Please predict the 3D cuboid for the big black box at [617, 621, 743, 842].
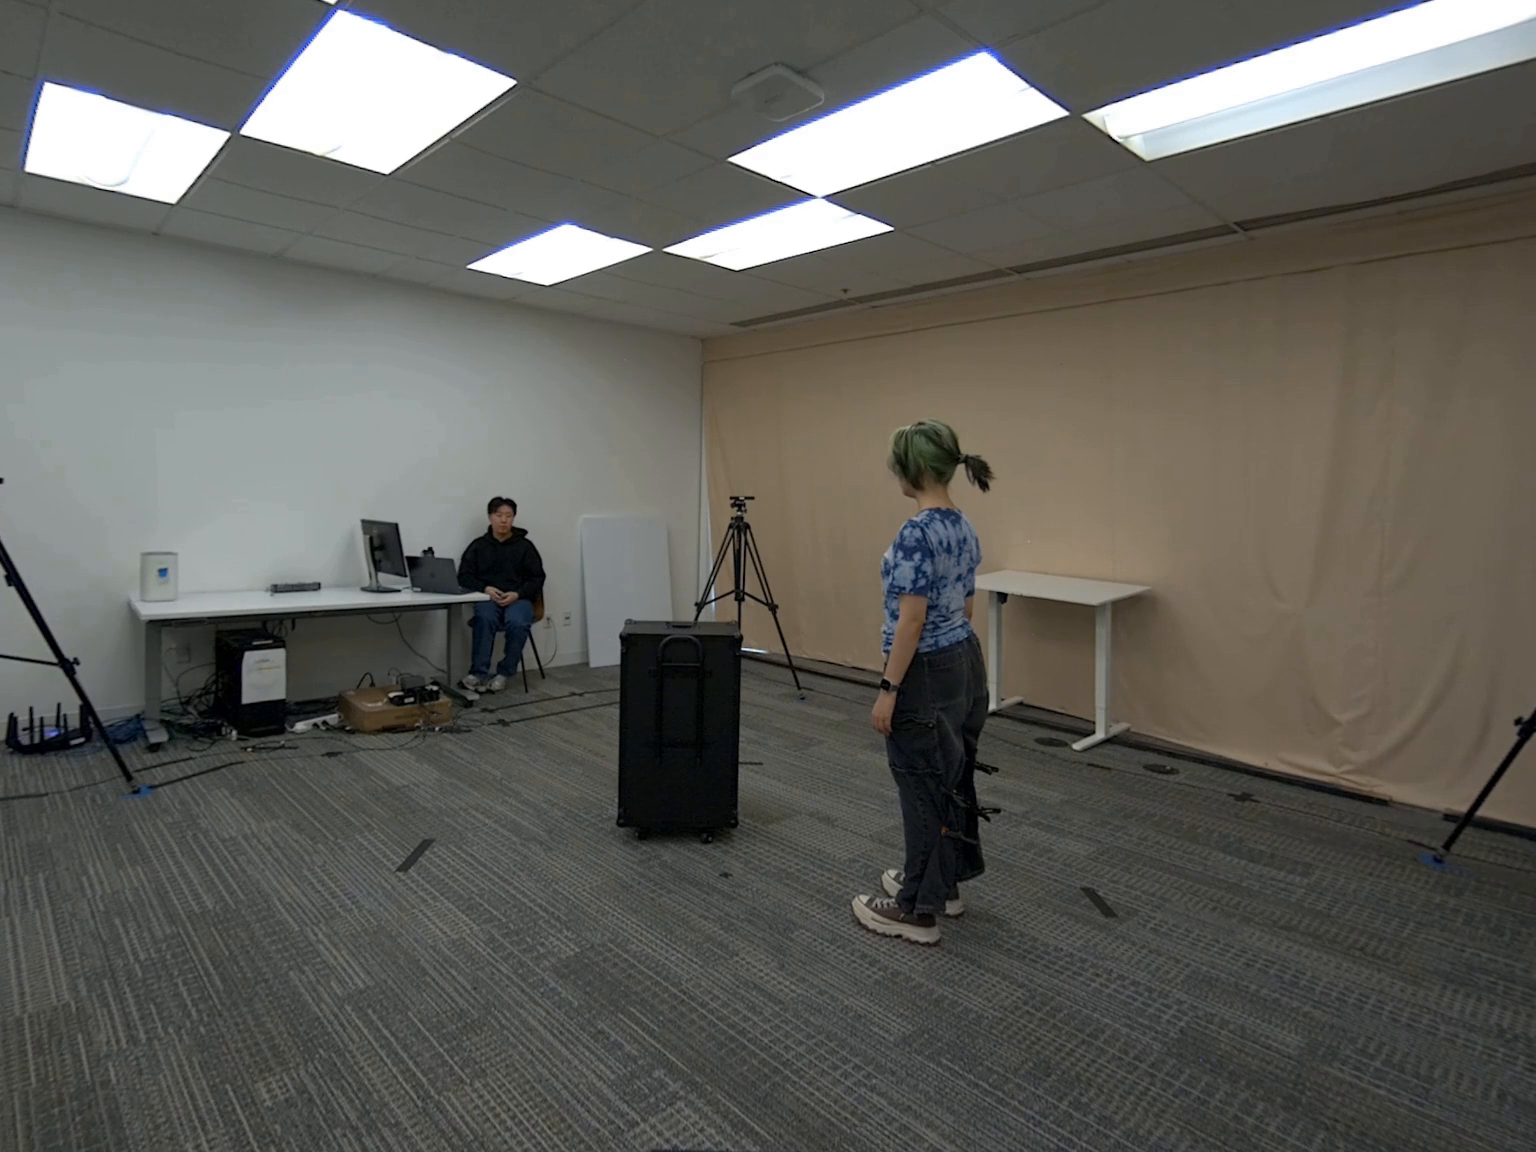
[{"bbox_3d":[-0.370,0.636,3.508,0.520,0.859,0.398,2,4,-4],"label":"big black box"}]
